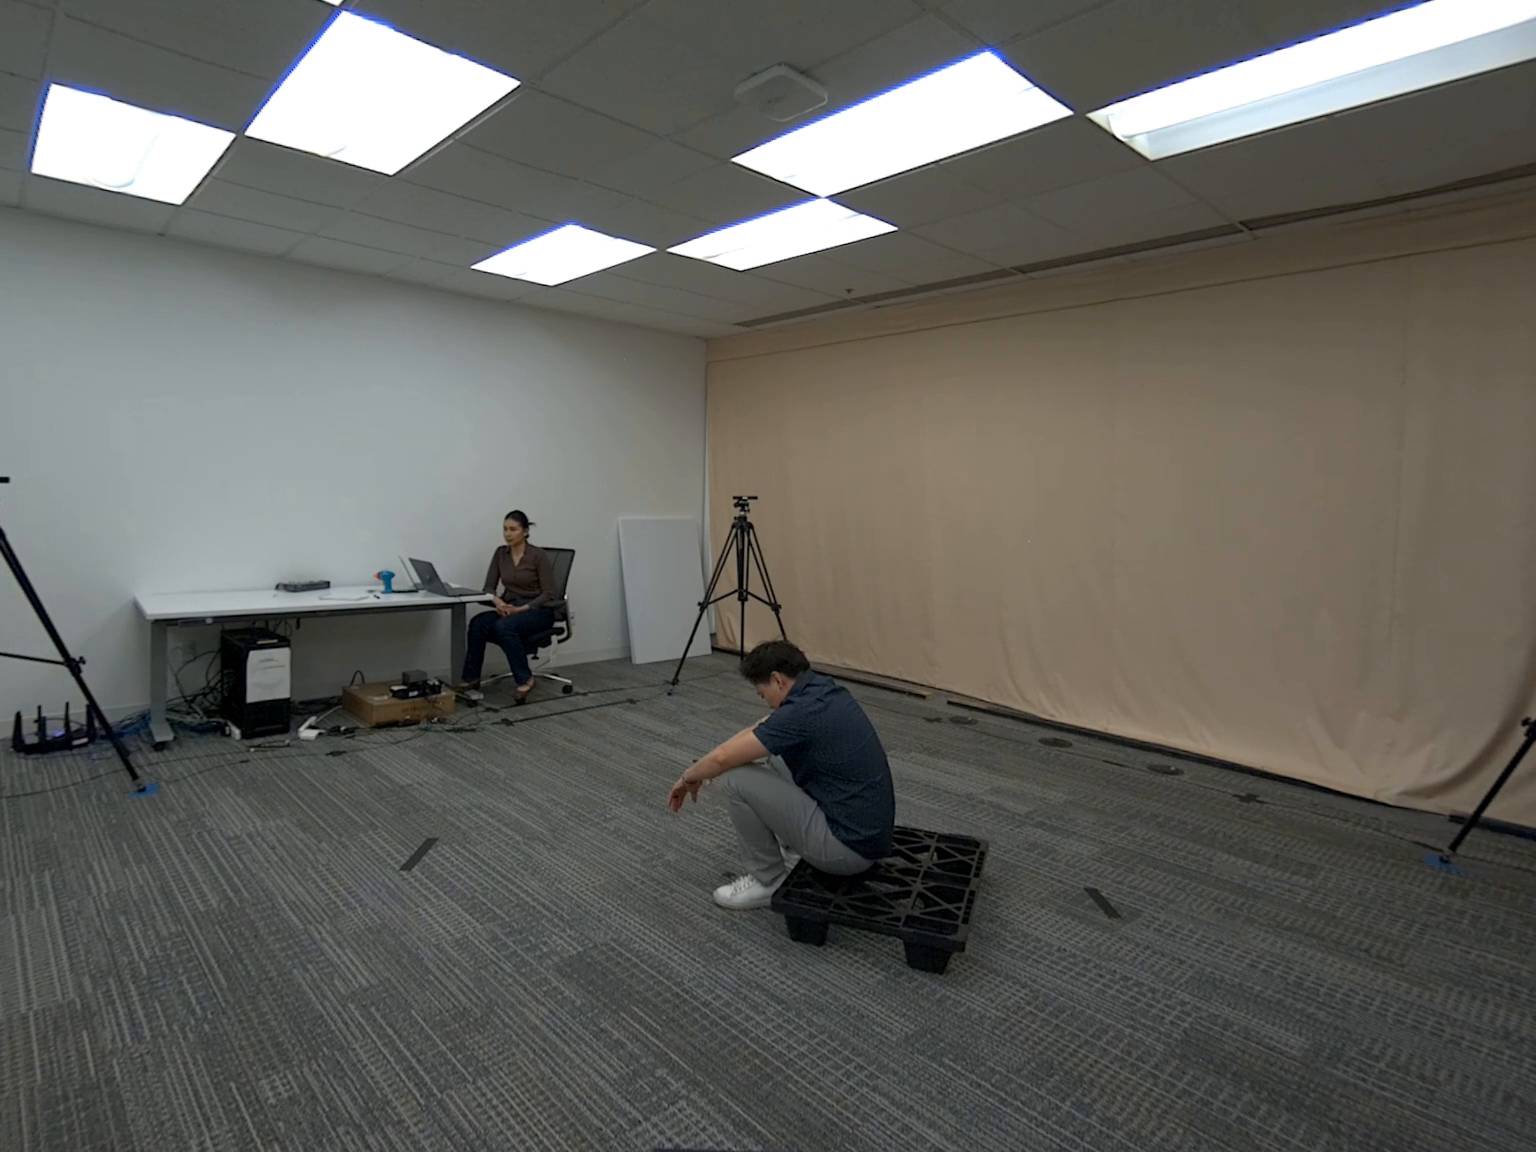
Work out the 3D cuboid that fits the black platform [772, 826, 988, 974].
[{"bbox_3d":[0.405,1.069,2.894,0.615,0.143,0.795,3,5,20],"label":"black platform"}]
